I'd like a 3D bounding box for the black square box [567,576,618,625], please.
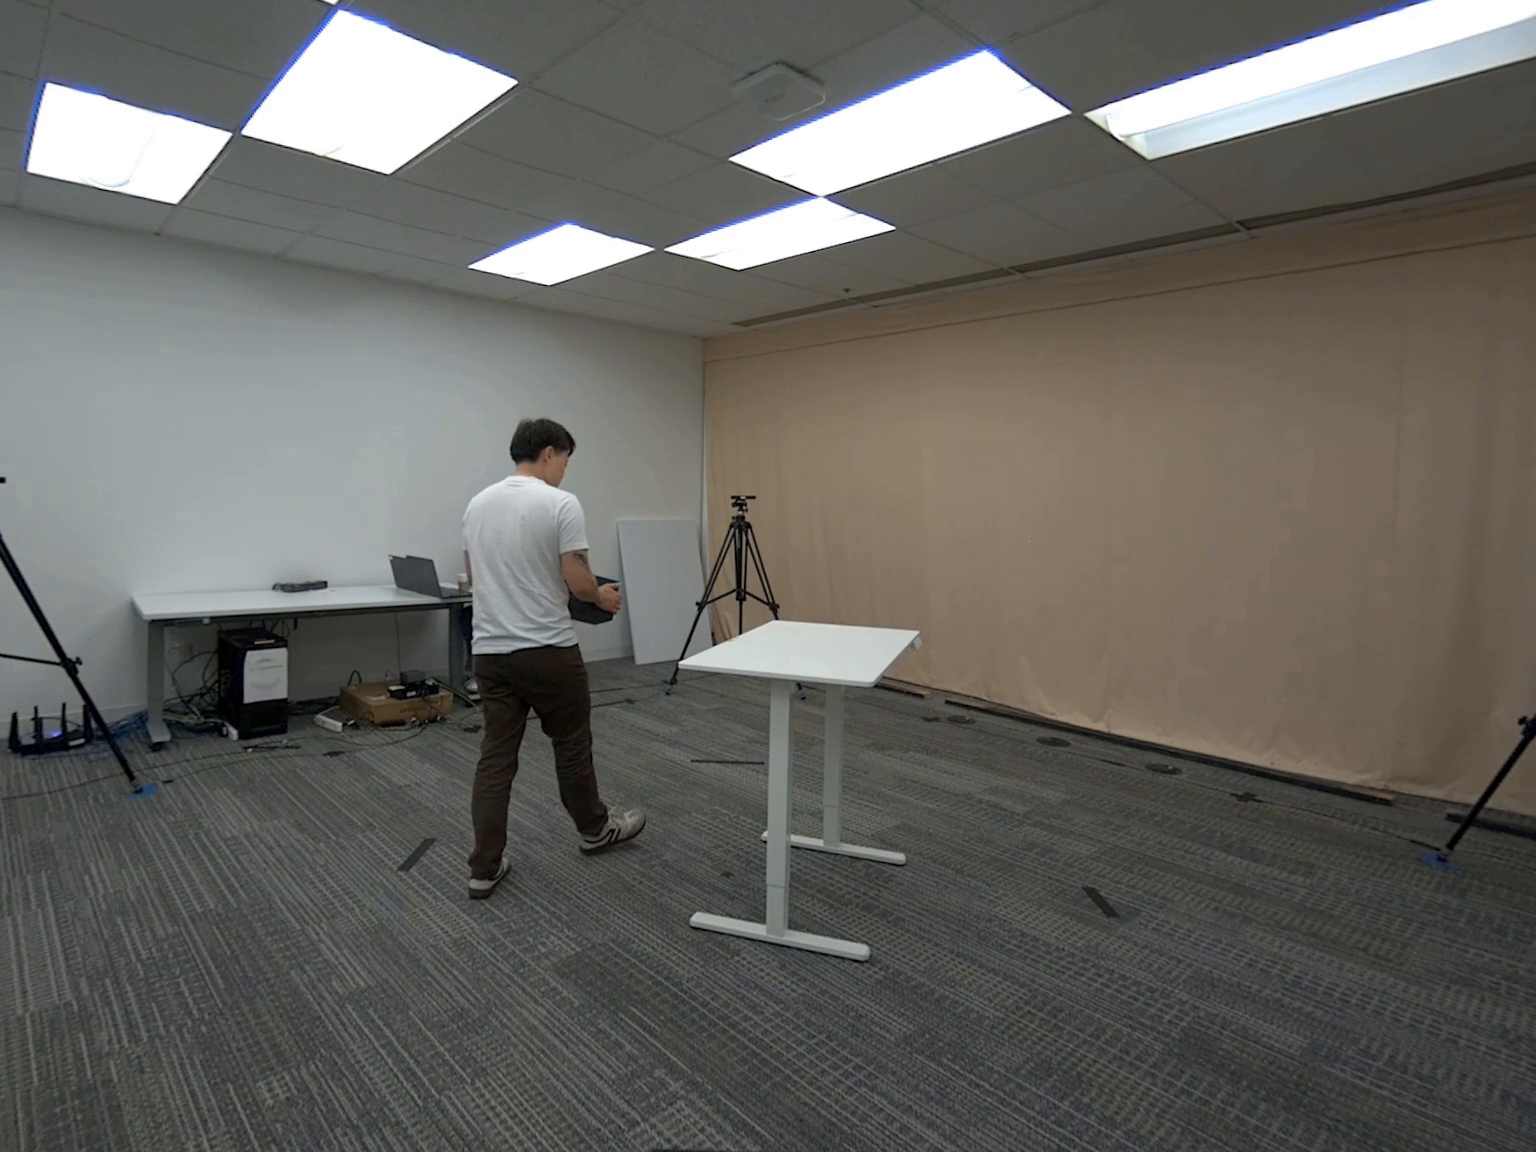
[{"bbox_3d":[-0.734,0.086,3.304,0.212,0.157,0.231,15,-14,-24],"label":"black square box"}]
